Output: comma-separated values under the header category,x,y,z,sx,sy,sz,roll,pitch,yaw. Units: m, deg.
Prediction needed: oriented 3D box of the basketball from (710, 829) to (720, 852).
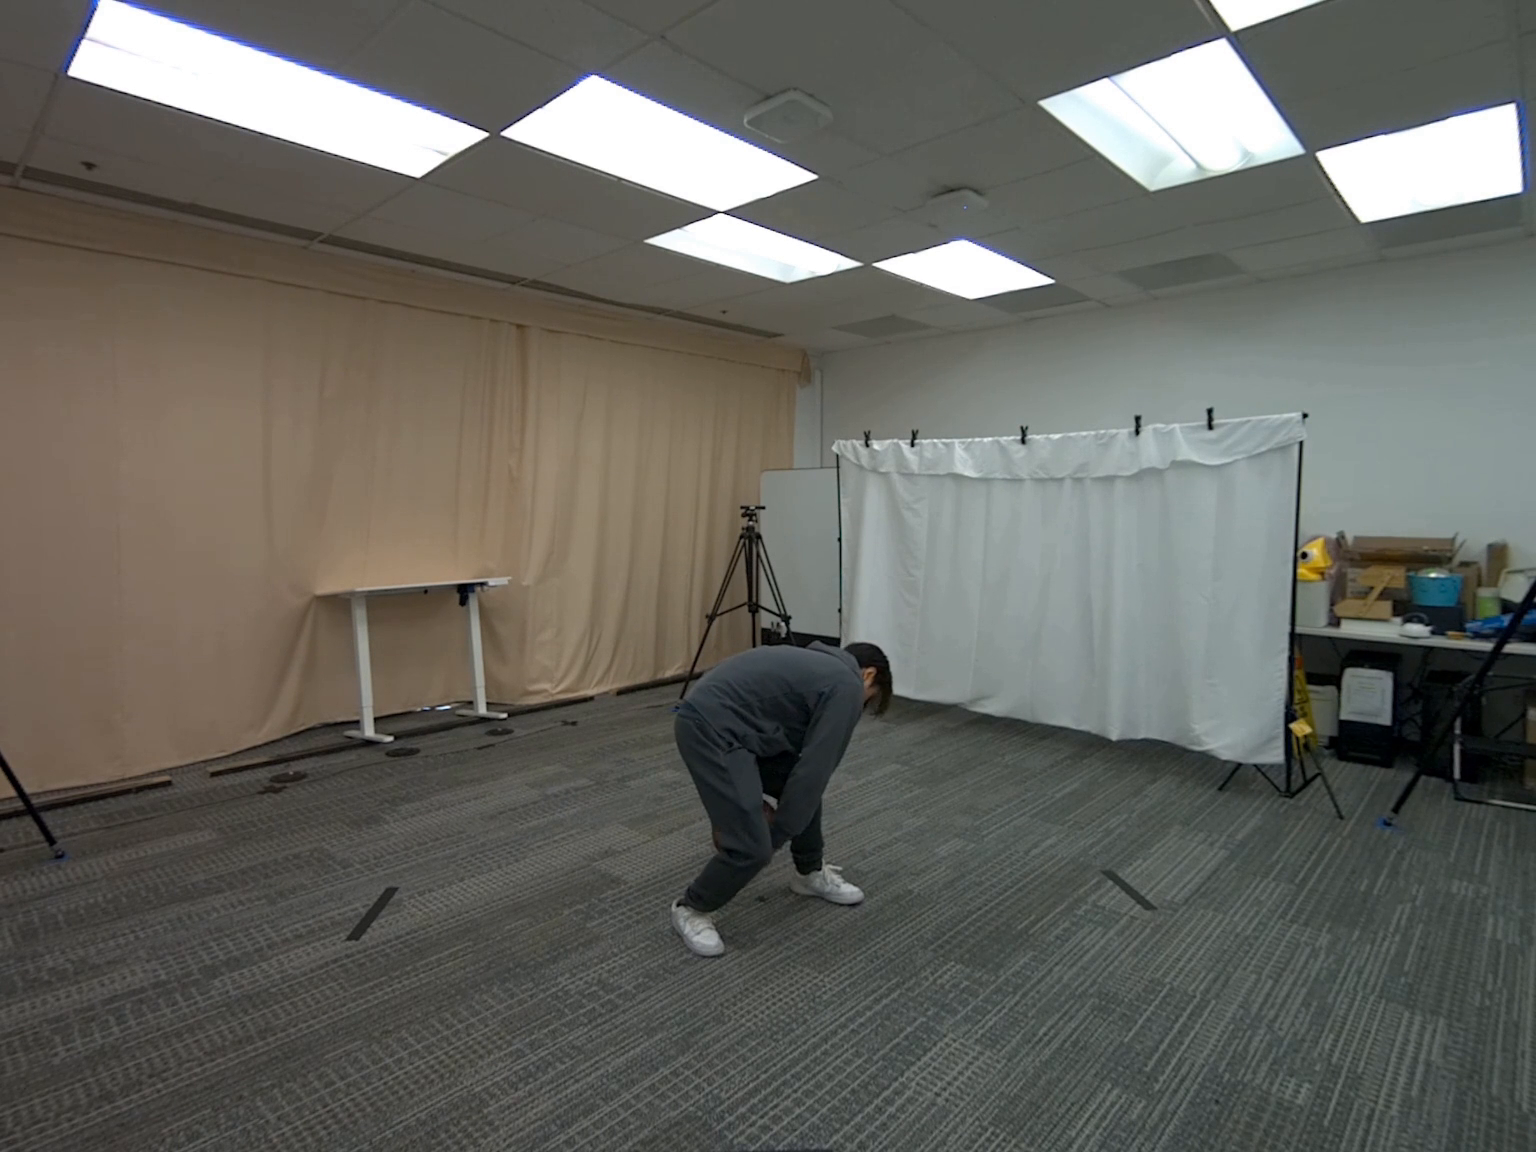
category,x,y,z,sx,sy,sz,roll,pitch,yaw
basketball,-0.067,0.864,2.862,0.236,0.235,0.237,0,4,-2
